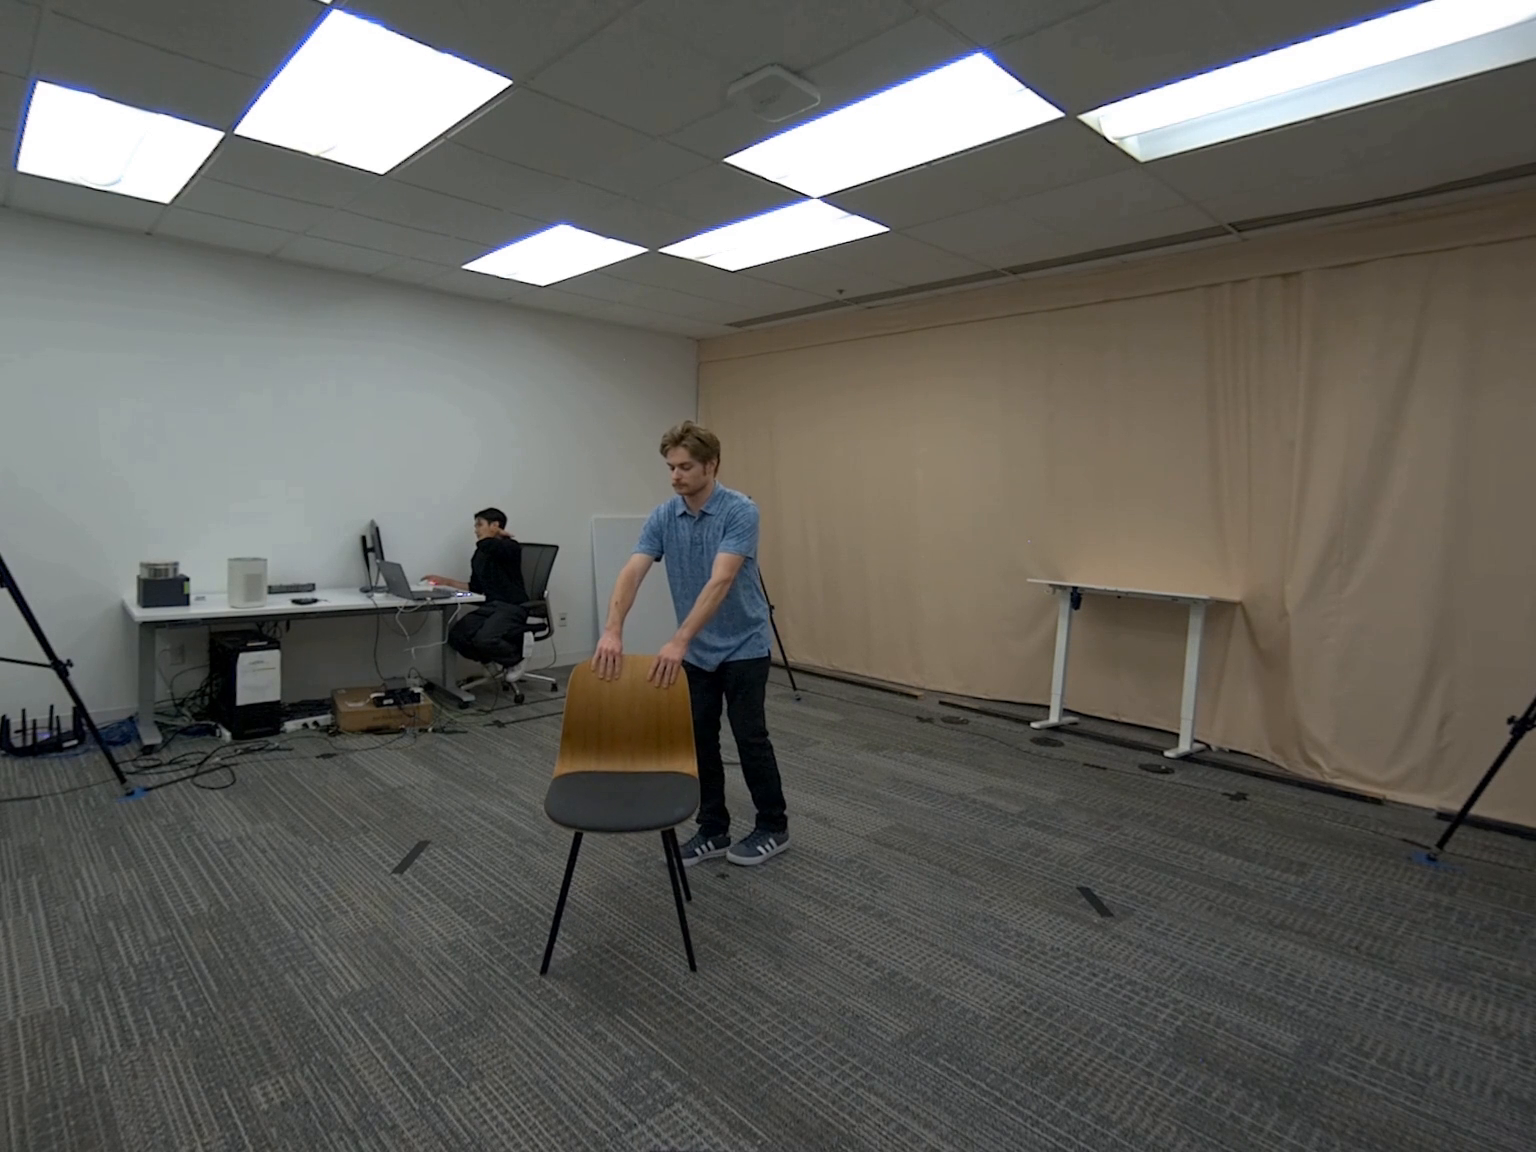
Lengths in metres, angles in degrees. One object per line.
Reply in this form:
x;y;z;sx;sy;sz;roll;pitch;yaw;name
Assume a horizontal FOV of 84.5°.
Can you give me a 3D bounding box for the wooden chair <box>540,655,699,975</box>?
-0.453;0.718;2.635;0.476;0.877;0.526;1;0;-7;wooden chair
